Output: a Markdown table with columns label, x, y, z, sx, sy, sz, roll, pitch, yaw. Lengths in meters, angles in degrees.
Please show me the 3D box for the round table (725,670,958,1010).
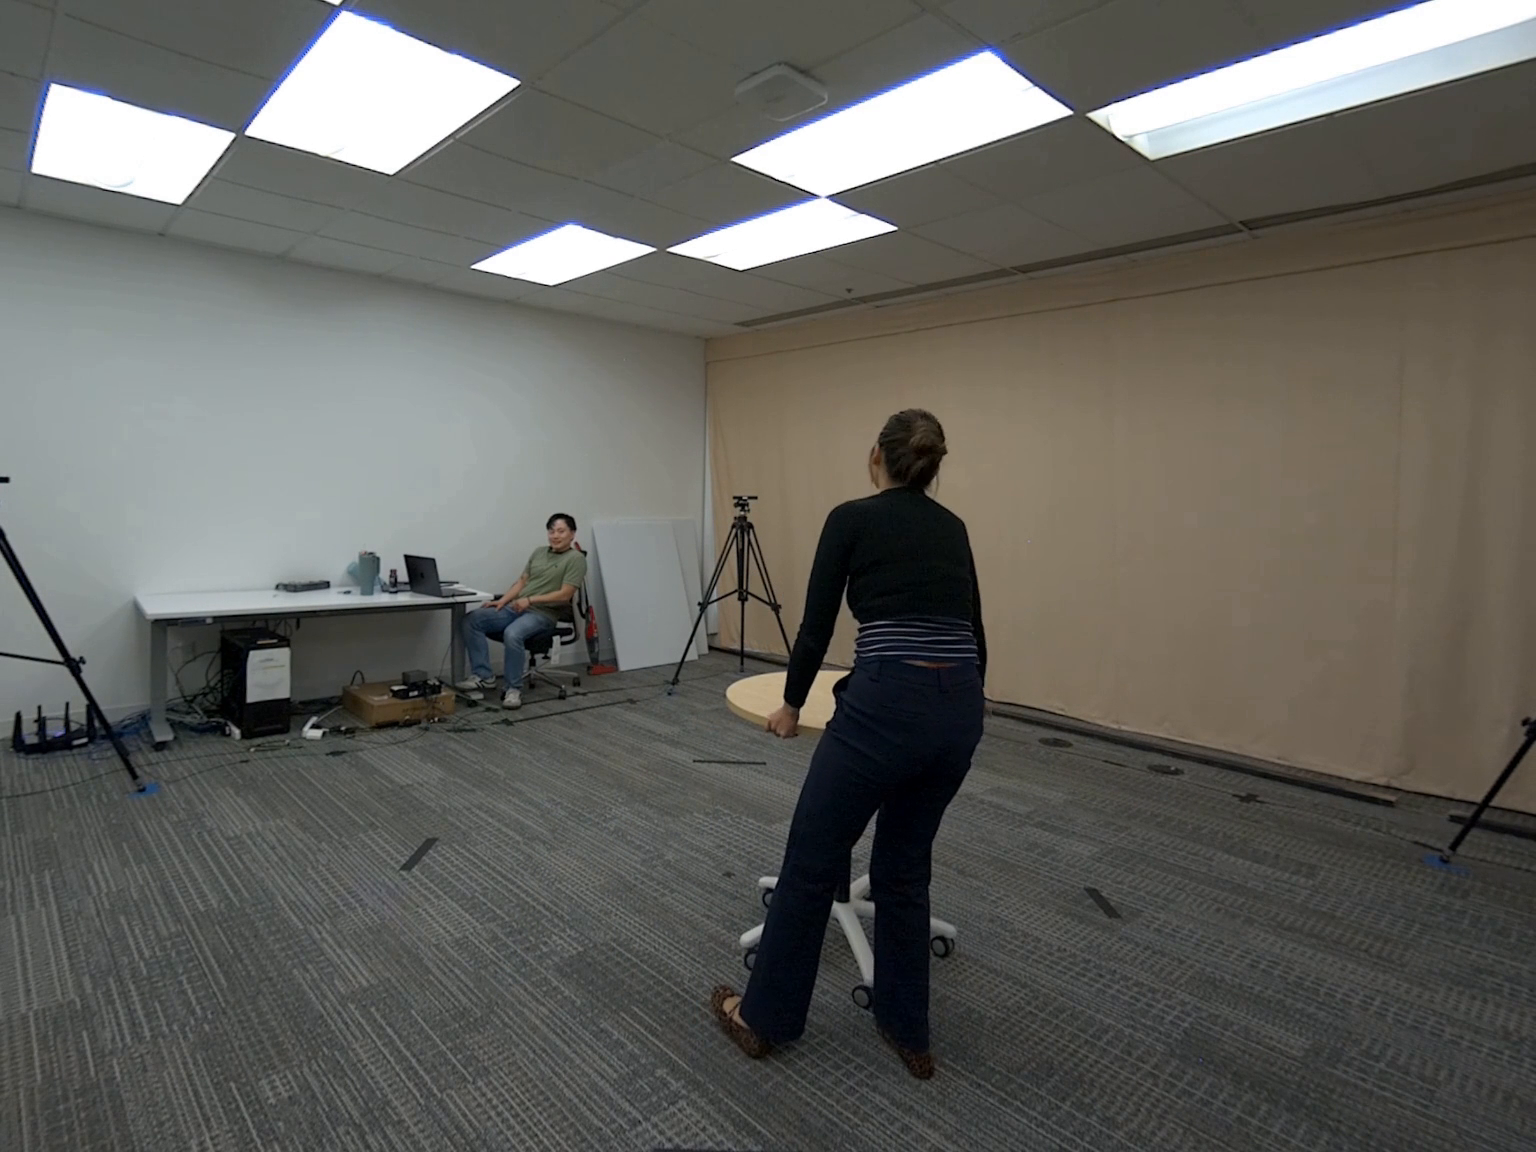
| label | x | y | z | sx | sy | sz | roll | pitch | yaw |
| --- | --- | --- | --- | --- | --- | --- | --- | --- | --- |
| round table | 0.241 | 0.771 | 2.620 | 0.763 | 0.791 | 0.767 | 2 | 5 | -2 |
